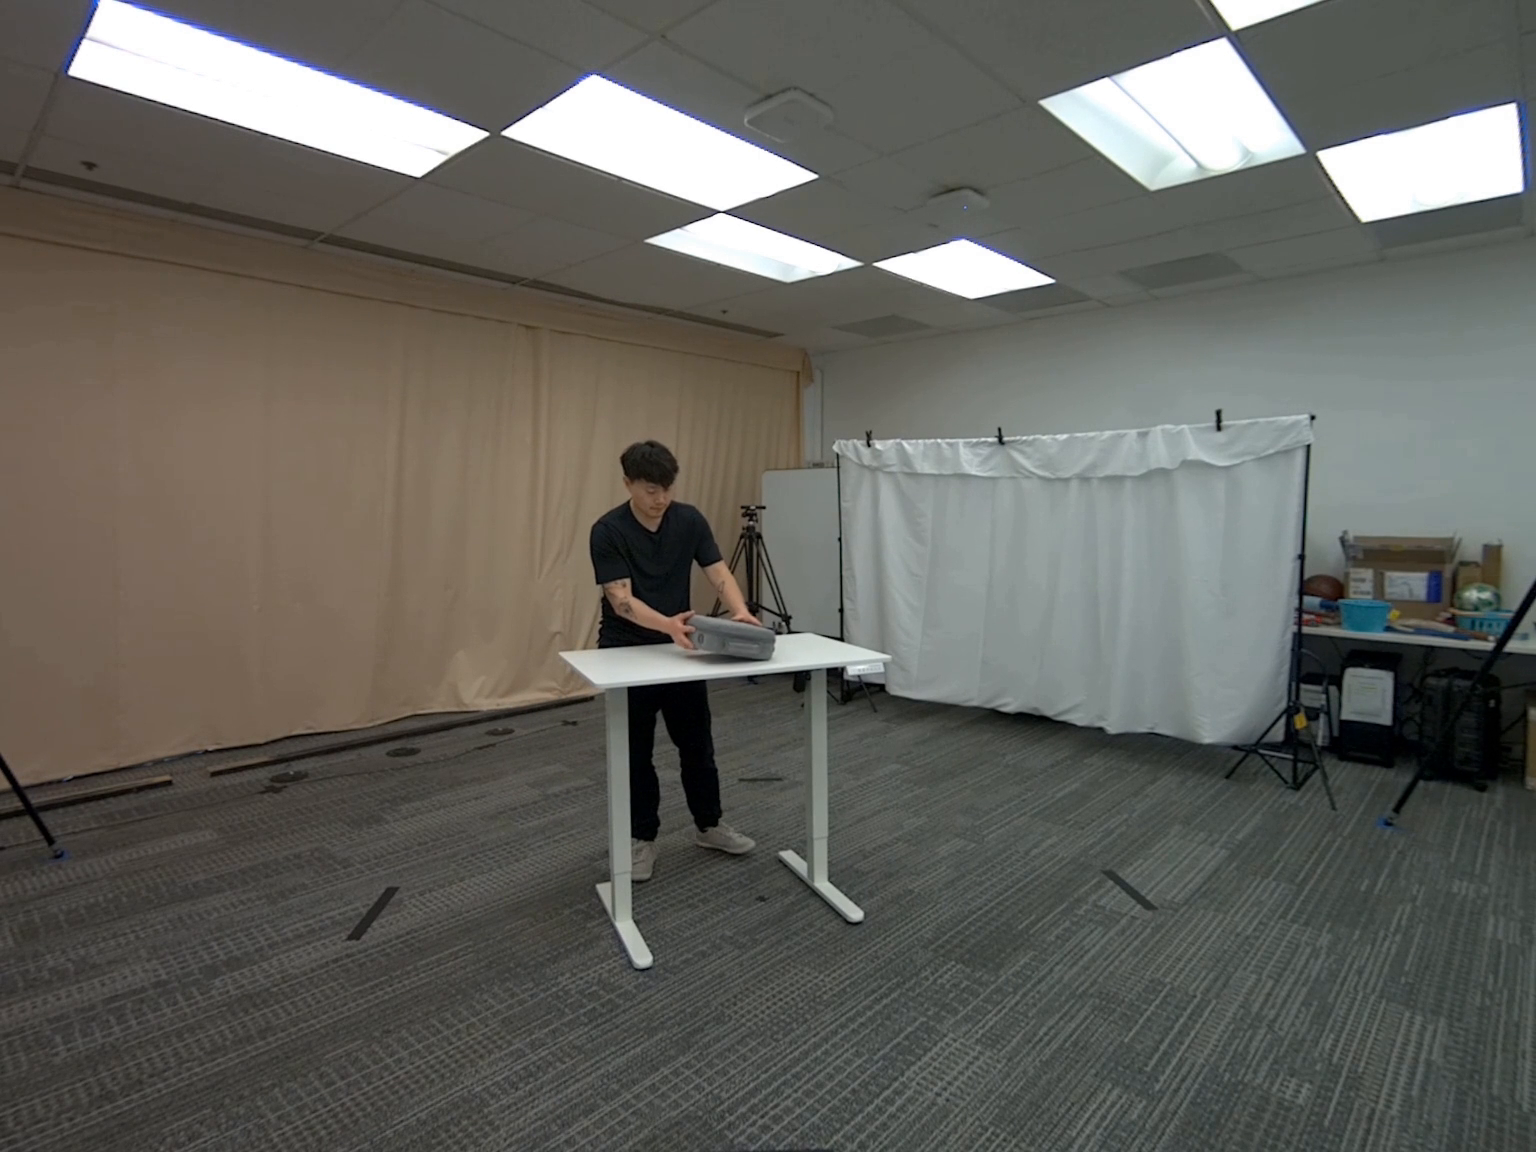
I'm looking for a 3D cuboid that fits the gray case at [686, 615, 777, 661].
[{"bbox_3d":[-0.121,0.202,2.810,0.251,0.104,0.266,10,-1,-20],"label":"gray case"}]
